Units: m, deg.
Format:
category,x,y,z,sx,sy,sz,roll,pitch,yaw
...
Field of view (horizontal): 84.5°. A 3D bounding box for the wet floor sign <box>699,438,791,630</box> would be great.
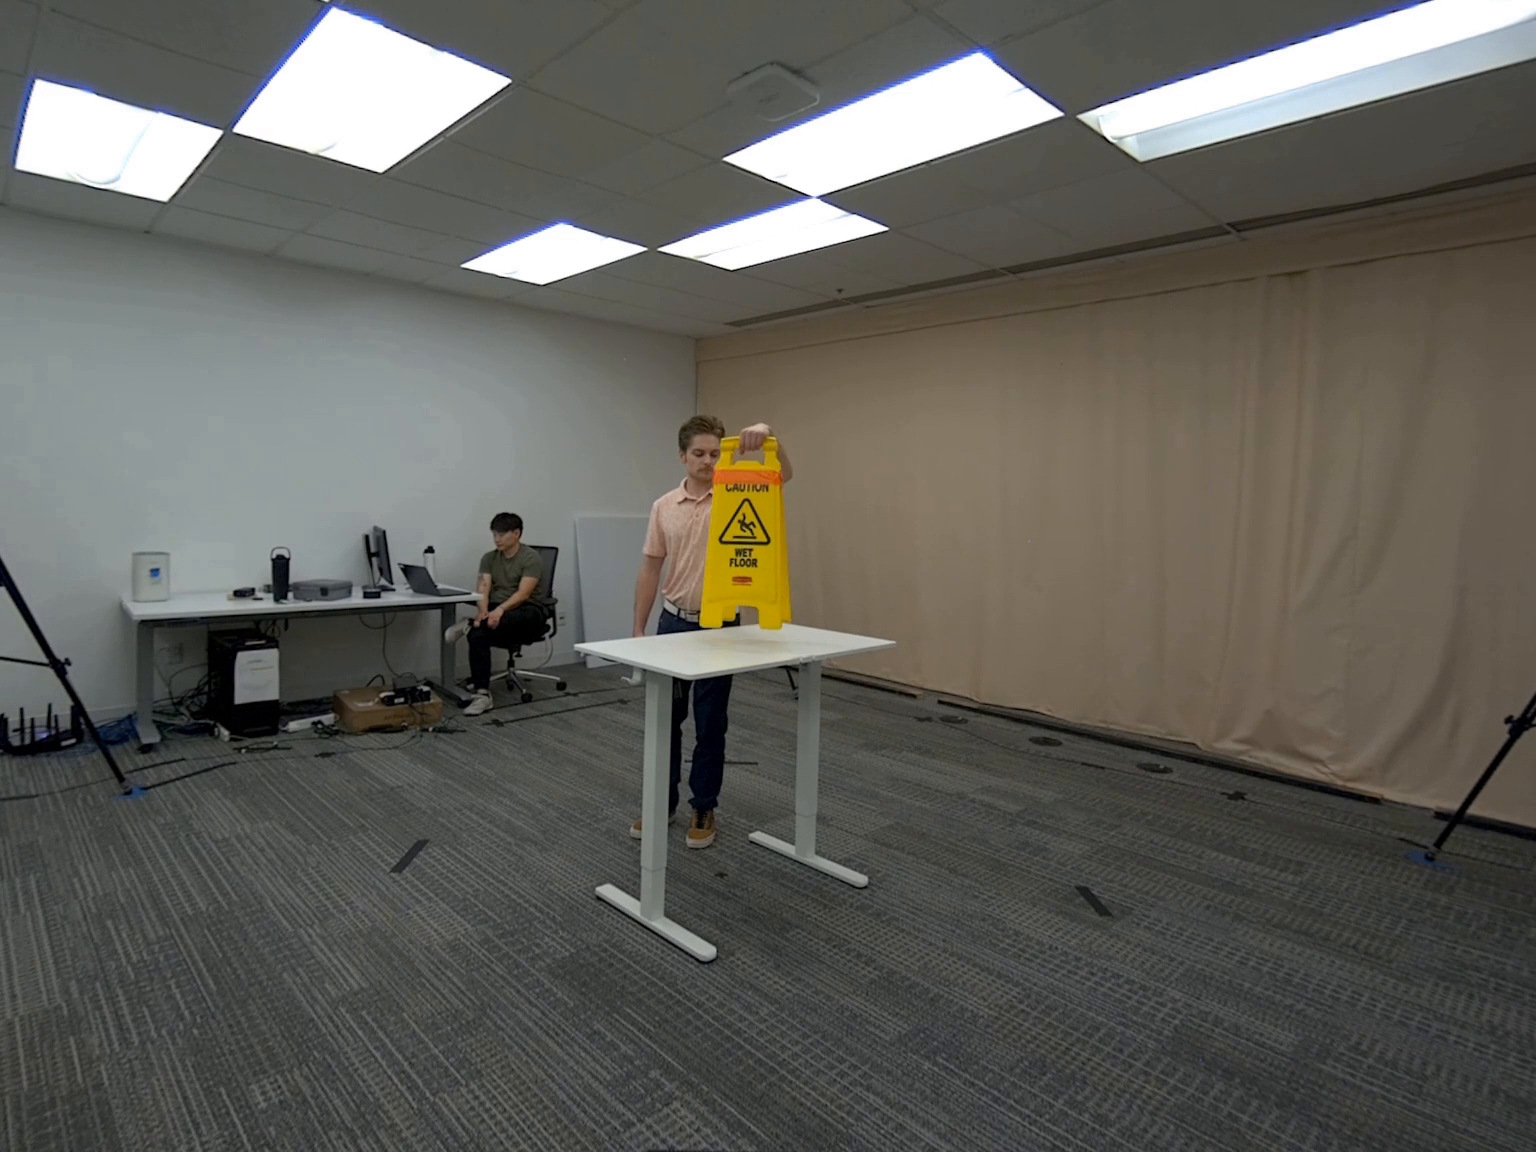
category,x,y,z,sx,sy,sz,roll,pitch,yaw
wet floor sign,-0.080,-0.152,2.917,0.284,0.646,0.287,1,1,9
